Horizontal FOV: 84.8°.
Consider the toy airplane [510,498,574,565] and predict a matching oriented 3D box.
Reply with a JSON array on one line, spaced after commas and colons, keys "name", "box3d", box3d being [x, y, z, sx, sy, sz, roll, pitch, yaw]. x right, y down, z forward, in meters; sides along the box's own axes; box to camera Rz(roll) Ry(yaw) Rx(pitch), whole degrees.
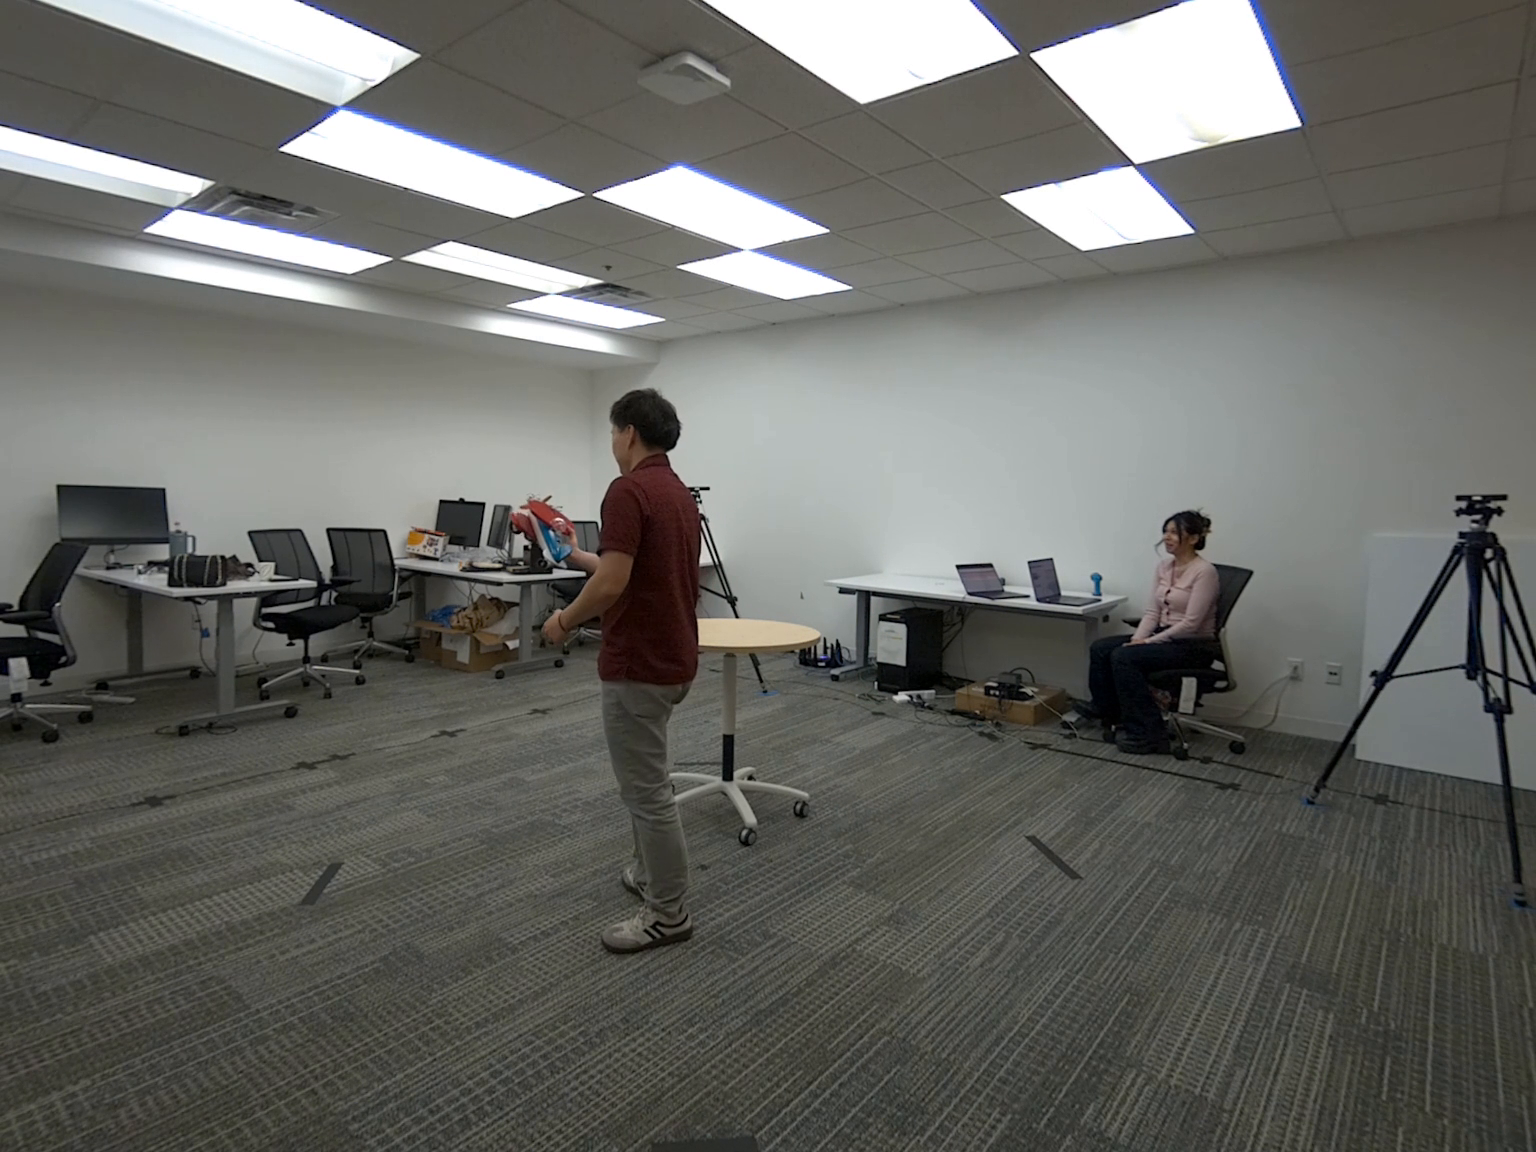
[{"name": "toy airplane", "box3d": [-0.774, -0.138, 2.940, 0.260, 0.156, 0.250, 44, 6, 1]}]
